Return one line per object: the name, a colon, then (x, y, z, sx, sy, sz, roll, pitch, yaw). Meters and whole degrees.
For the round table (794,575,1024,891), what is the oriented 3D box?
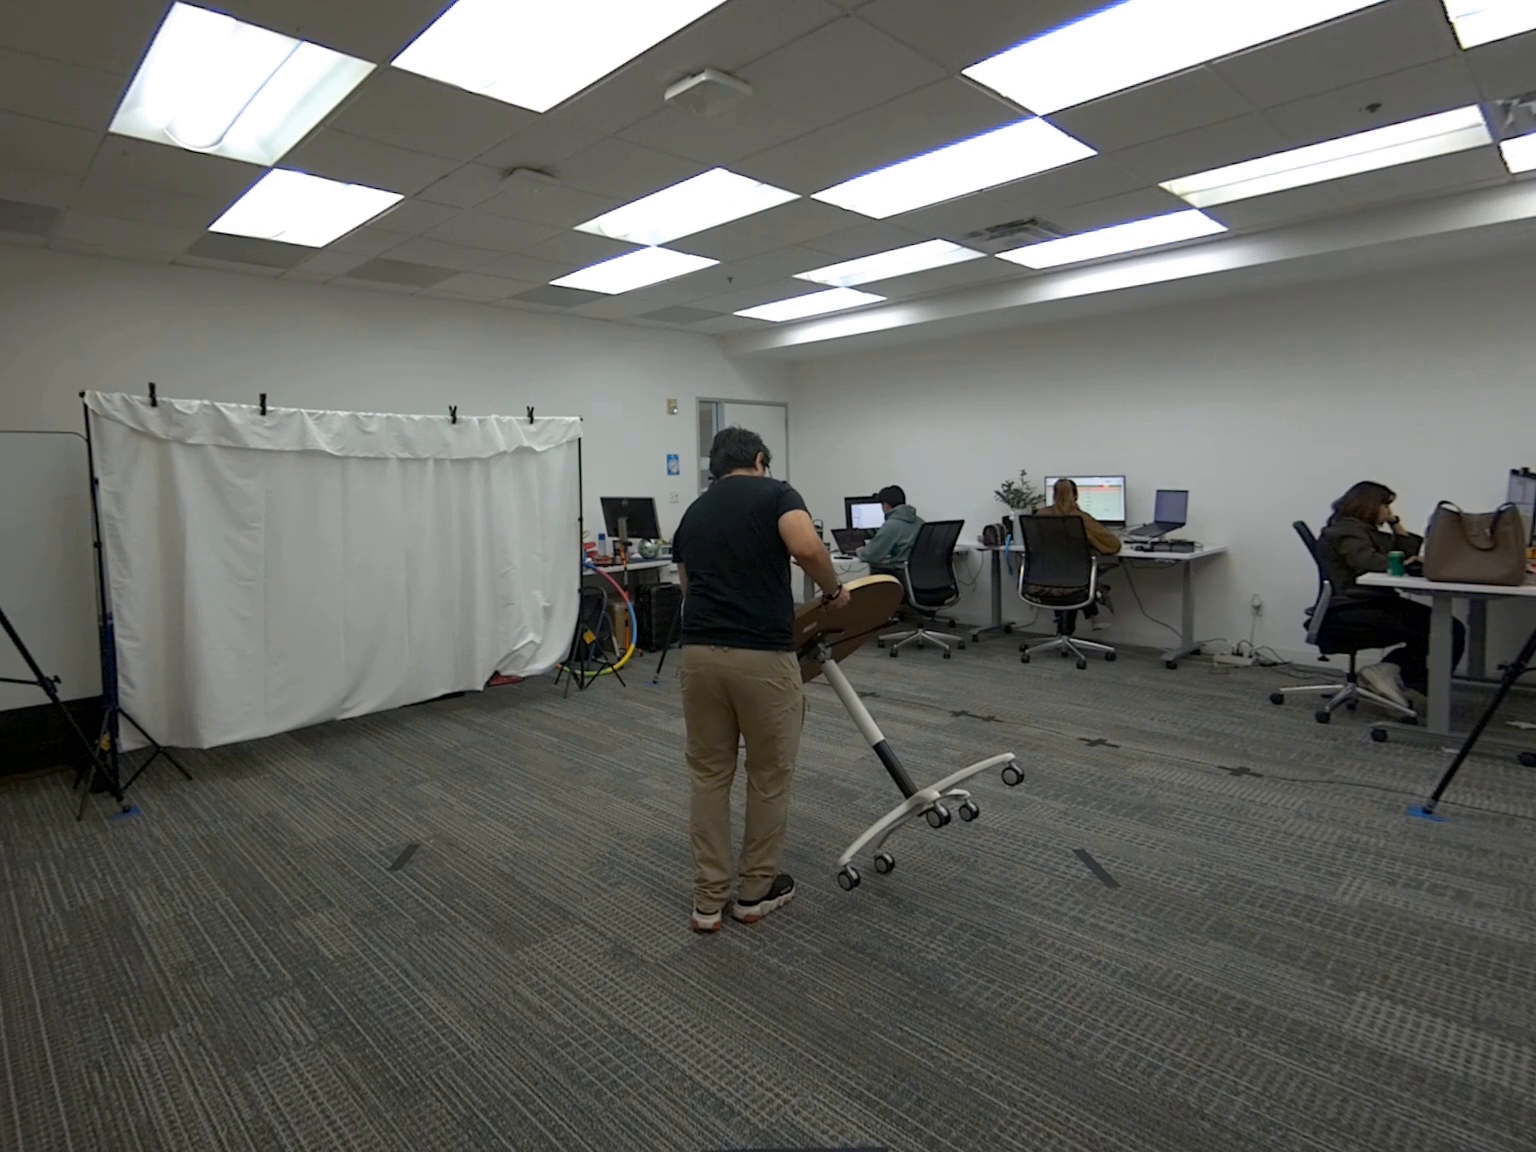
round table: (0.373, 0.535, 2.956, 0.779, 0.810, 0.767, -26, -25, -15)
